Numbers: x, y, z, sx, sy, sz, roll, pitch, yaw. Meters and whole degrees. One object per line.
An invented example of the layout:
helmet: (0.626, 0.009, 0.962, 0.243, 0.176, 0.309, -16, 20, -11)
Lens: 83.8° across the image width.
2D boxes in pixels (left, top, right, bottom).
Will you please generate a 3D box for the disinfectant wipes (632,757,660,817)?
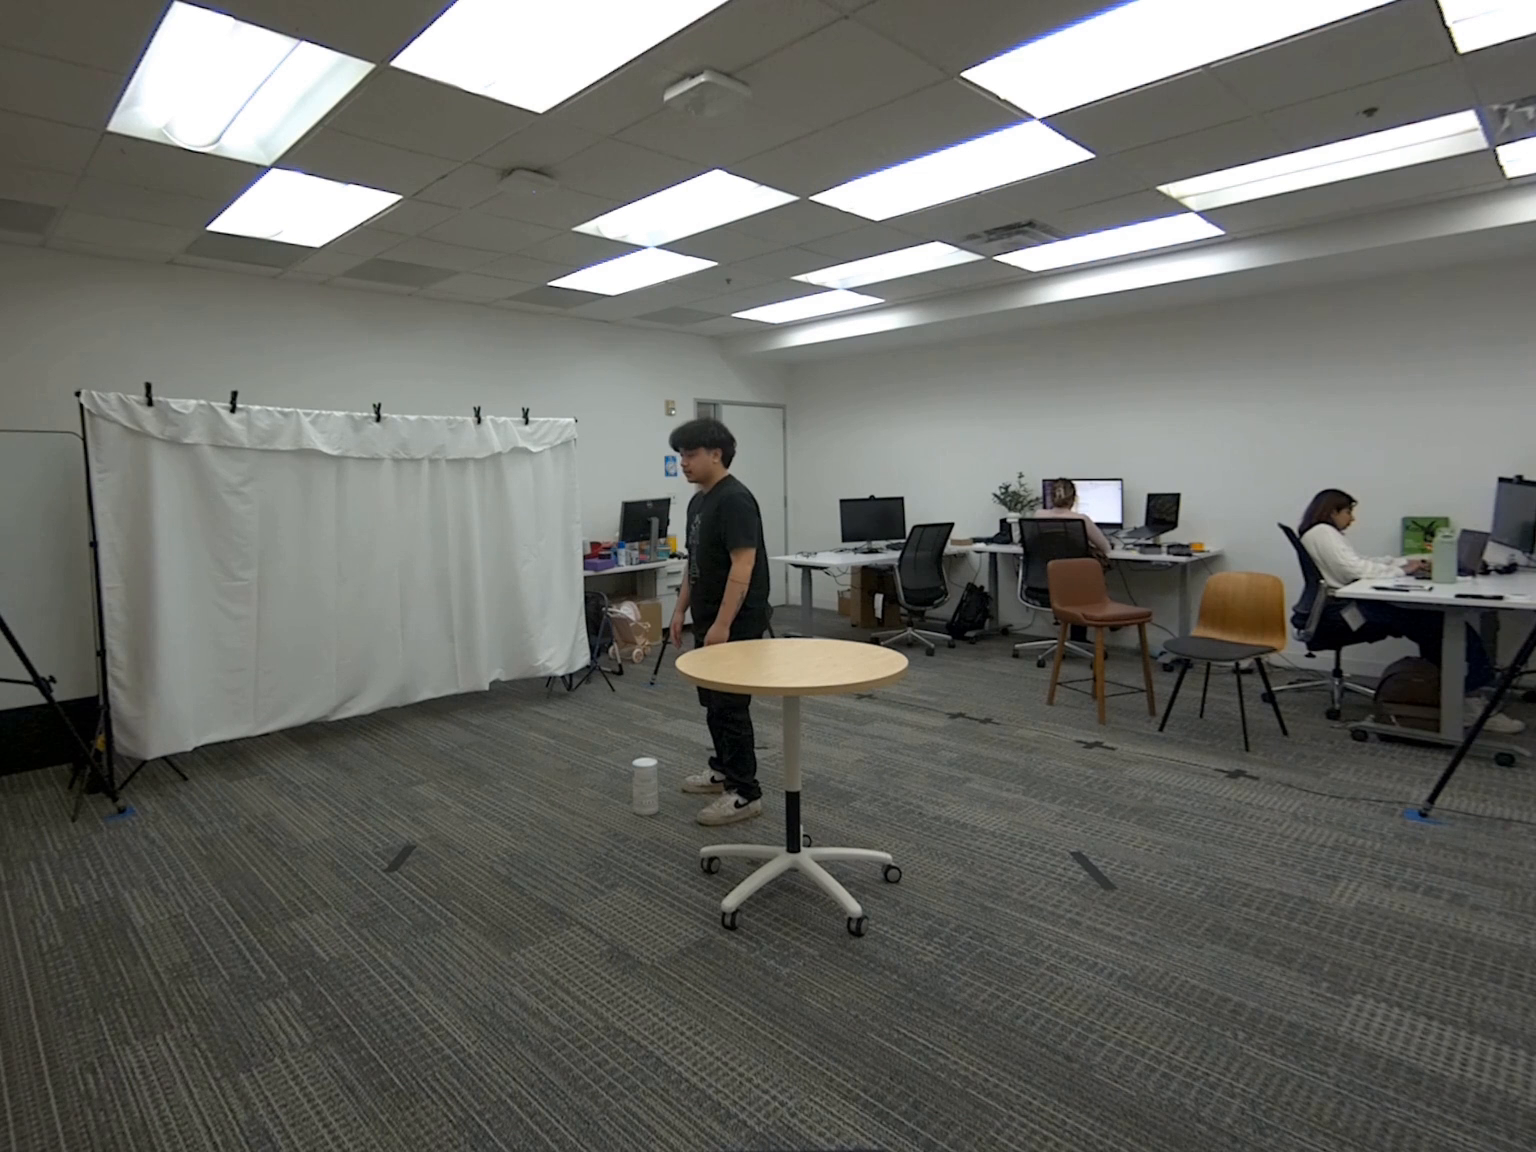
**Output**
disinfectant wipes: (-0.514, 0.877, 3.595, 0.118, 0.217, 0.118, -2, 4, -2)
